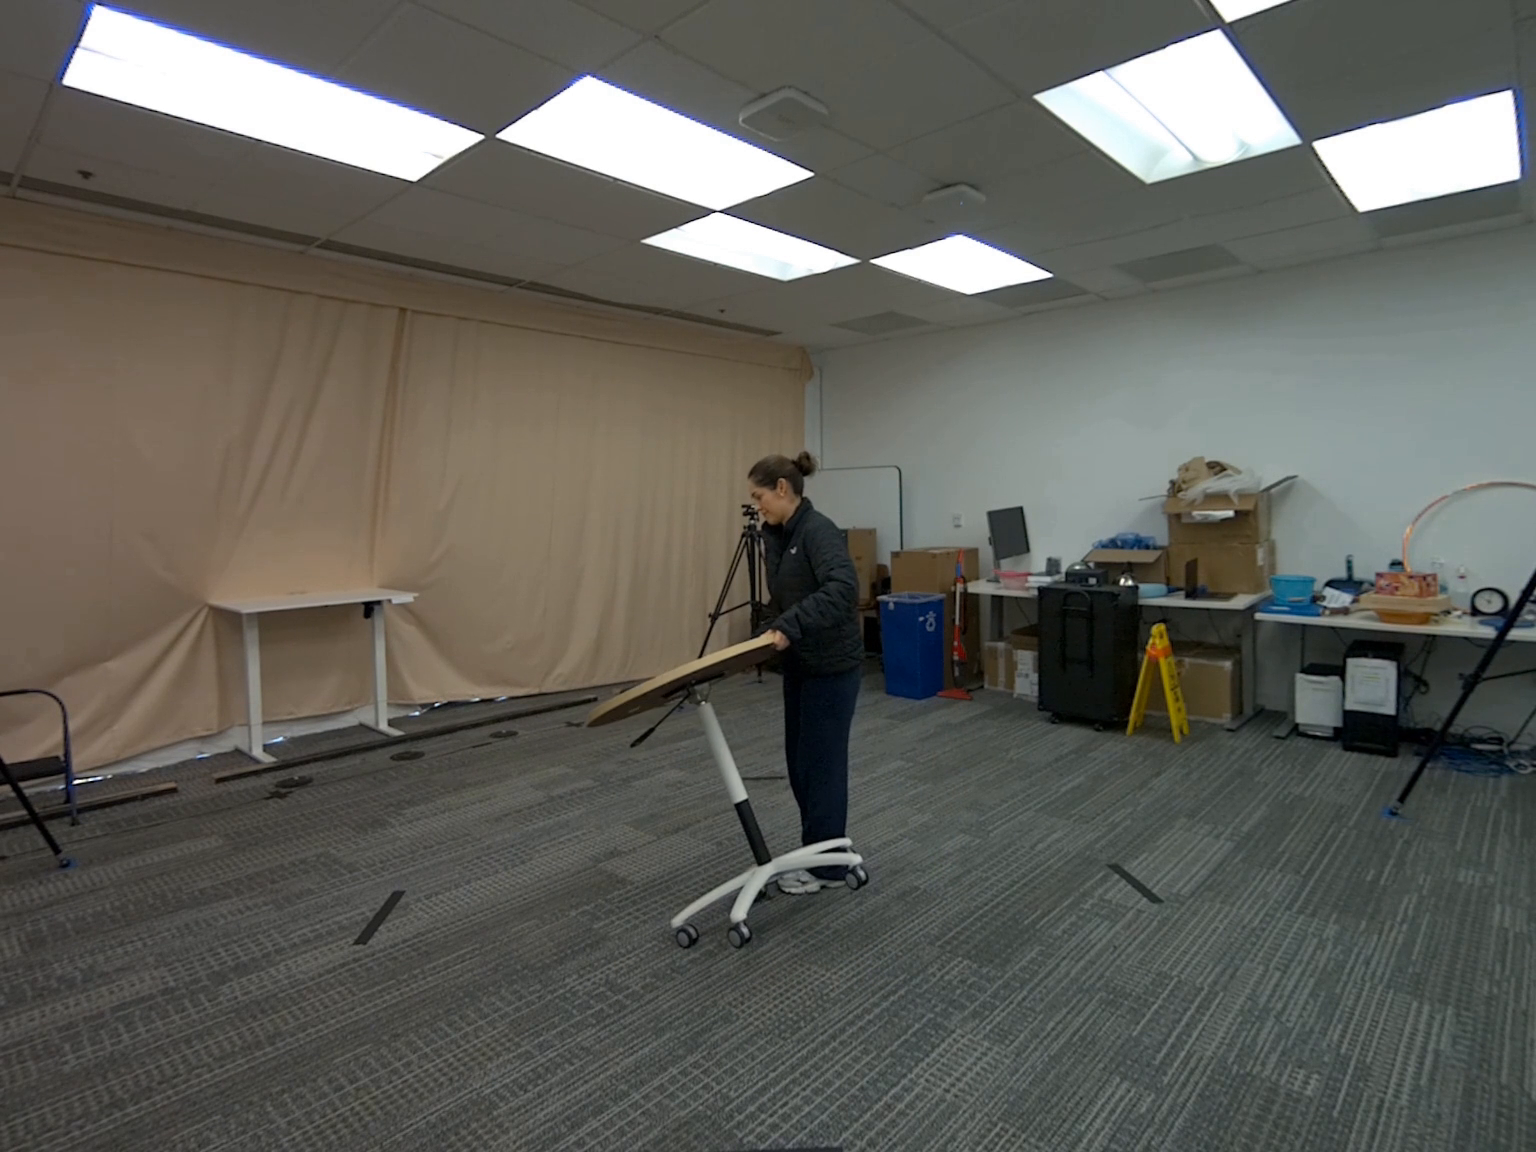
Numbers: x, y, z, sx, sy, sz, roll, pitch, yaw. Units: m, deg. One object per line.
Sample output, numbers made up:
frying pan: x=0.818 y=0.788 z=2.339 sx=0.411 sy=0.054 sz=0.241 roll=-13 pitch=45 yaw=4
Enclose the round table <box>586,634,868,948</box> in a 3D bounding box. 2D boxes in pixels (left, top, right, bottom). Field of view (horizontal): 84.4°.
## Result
round table: x=-0.081 y=0.690 z=2.768 sx=0.781 sy=0.796 sz=0.780 roll=-23 pitch=-11 yaw=-6
